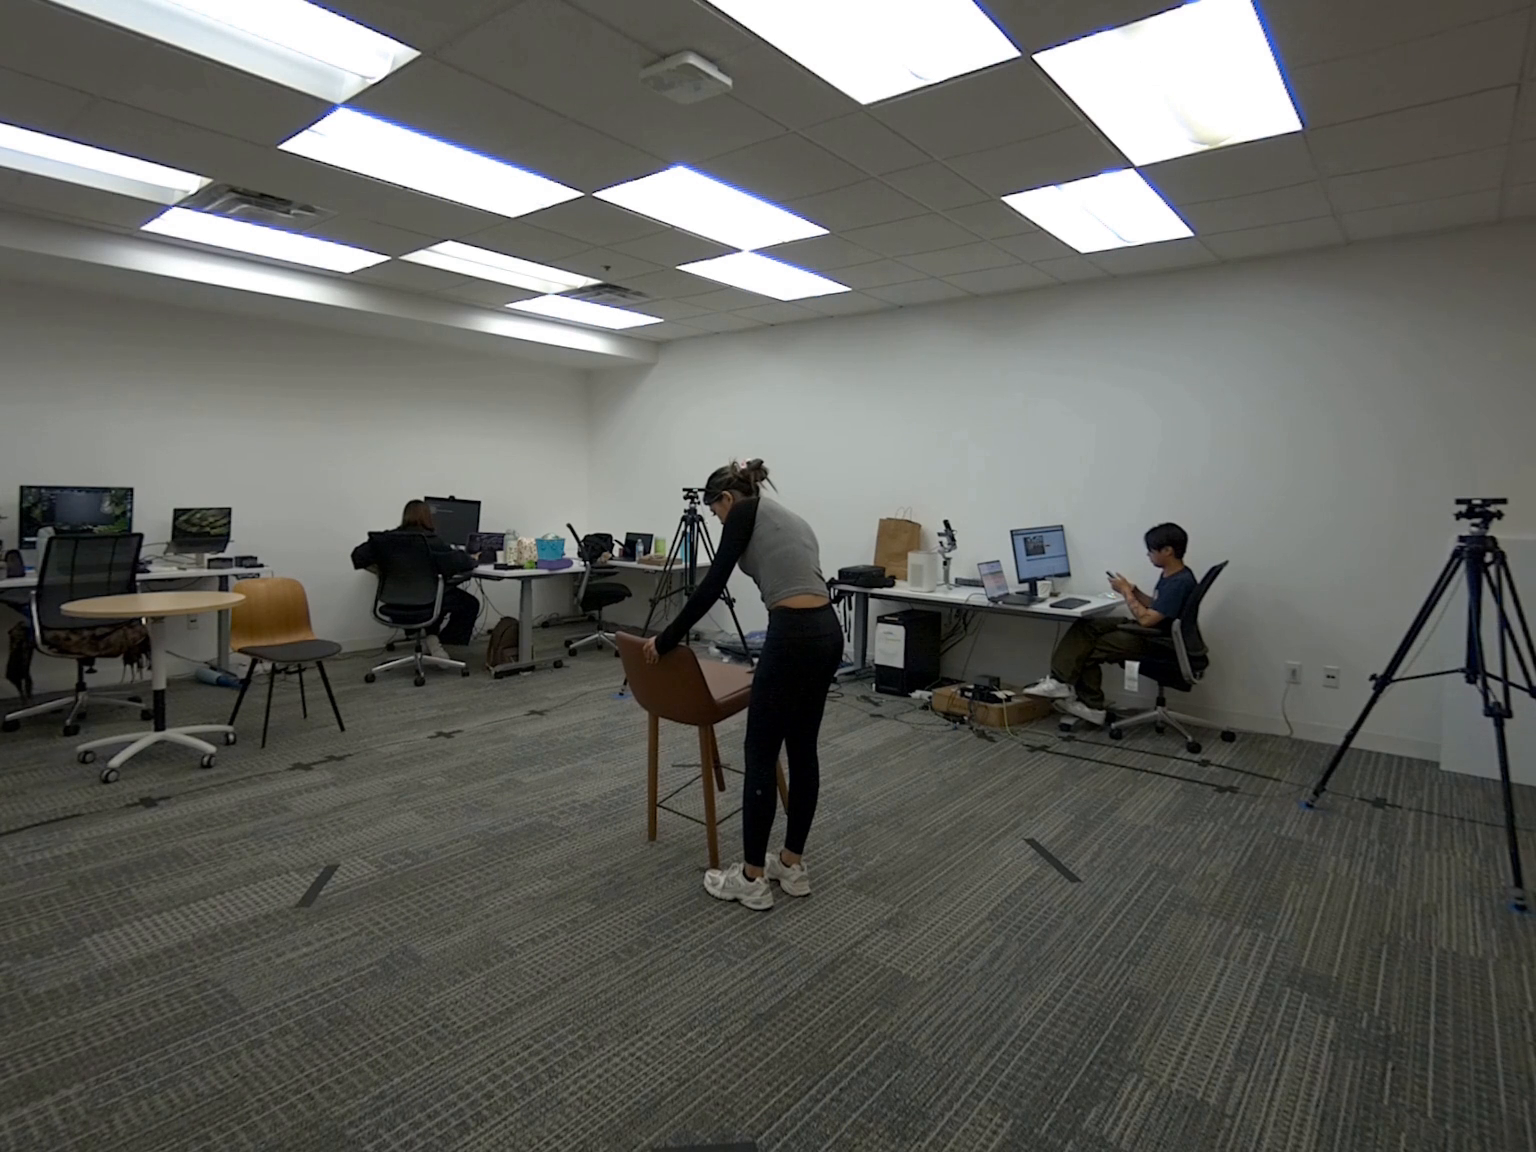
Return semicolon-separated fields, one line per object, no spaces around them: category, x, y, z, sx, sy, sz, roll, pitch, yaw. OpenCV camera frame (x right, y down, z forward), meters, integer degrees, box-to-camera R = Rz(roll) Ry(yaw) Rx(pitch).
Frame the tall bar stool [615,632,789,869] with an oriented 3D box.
tall bar stool;-0.263;0.577;3.307;0.472;0.877;0.459;4;19;43
